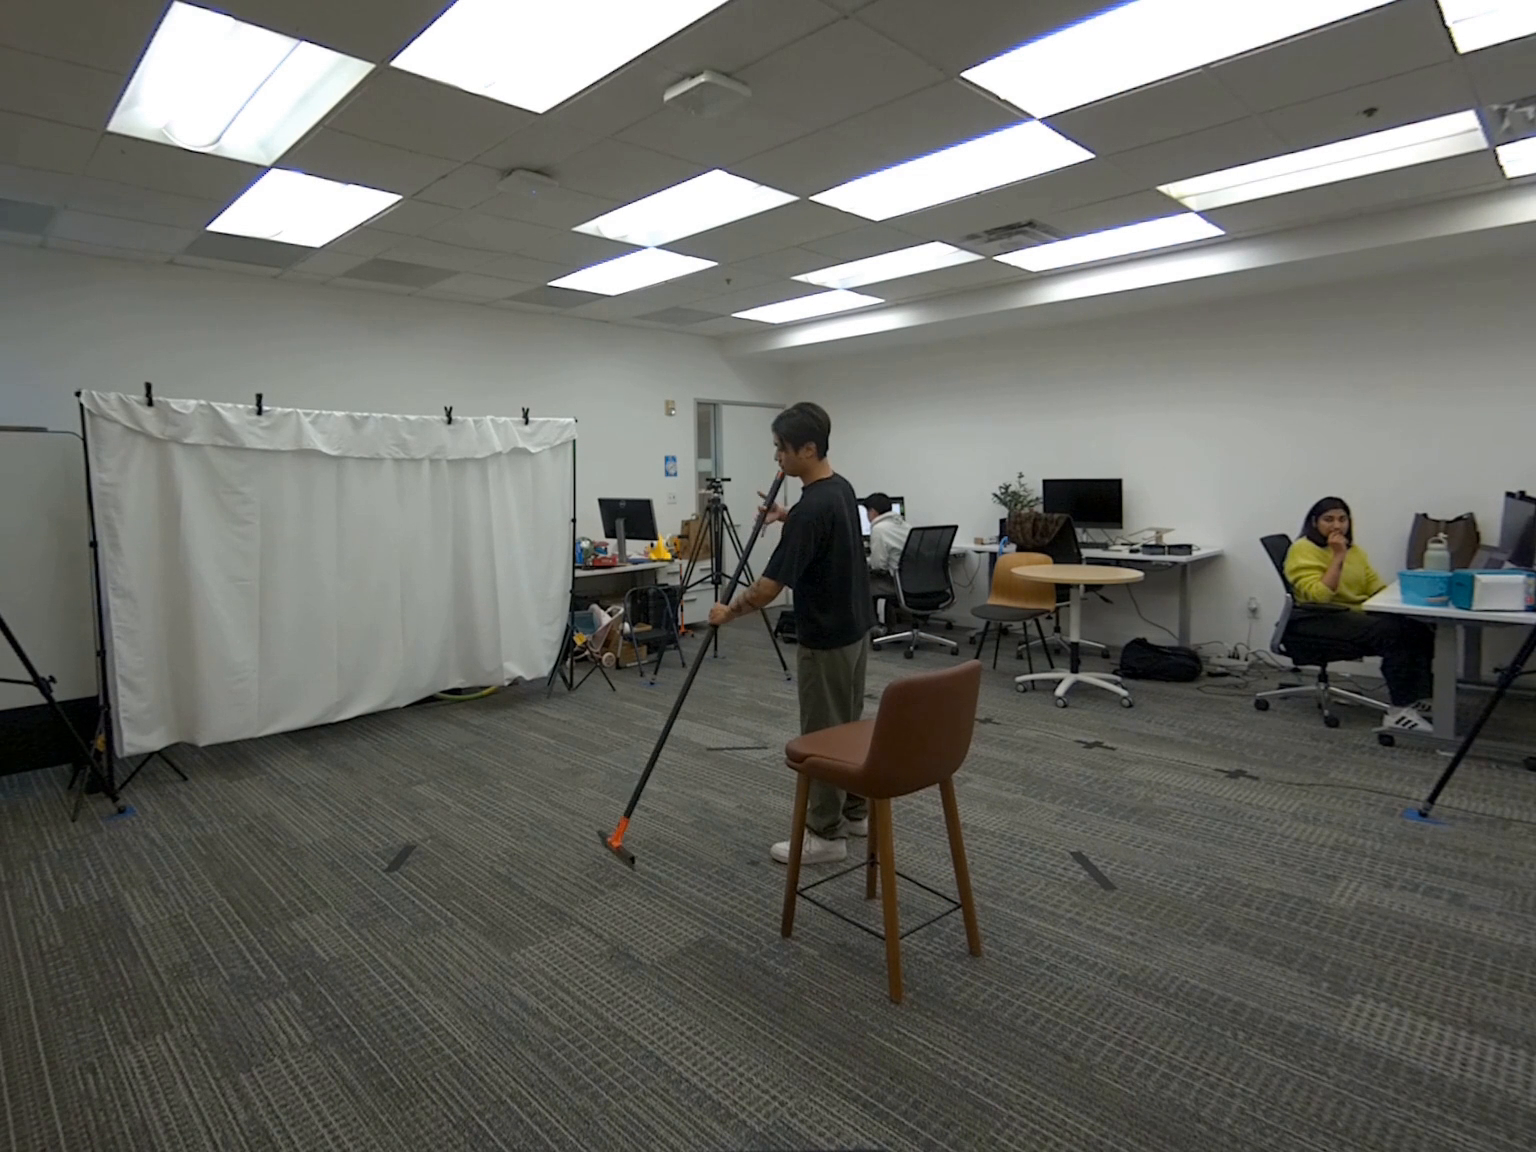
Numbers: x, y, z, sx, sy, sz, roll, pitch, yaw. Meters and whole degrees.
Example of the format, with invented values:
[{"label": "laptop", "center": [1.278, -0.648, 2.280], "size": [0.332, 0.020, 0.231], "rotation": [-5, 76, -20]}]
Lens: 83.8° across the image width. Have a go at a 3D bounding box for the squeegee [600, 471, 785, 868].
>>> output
[{"label": "squeegee", "center": [-0.239, 0.261, 3.094], "size": [0.052, 1.550, 0.443], "rotation": [29, -19, -18]}]
